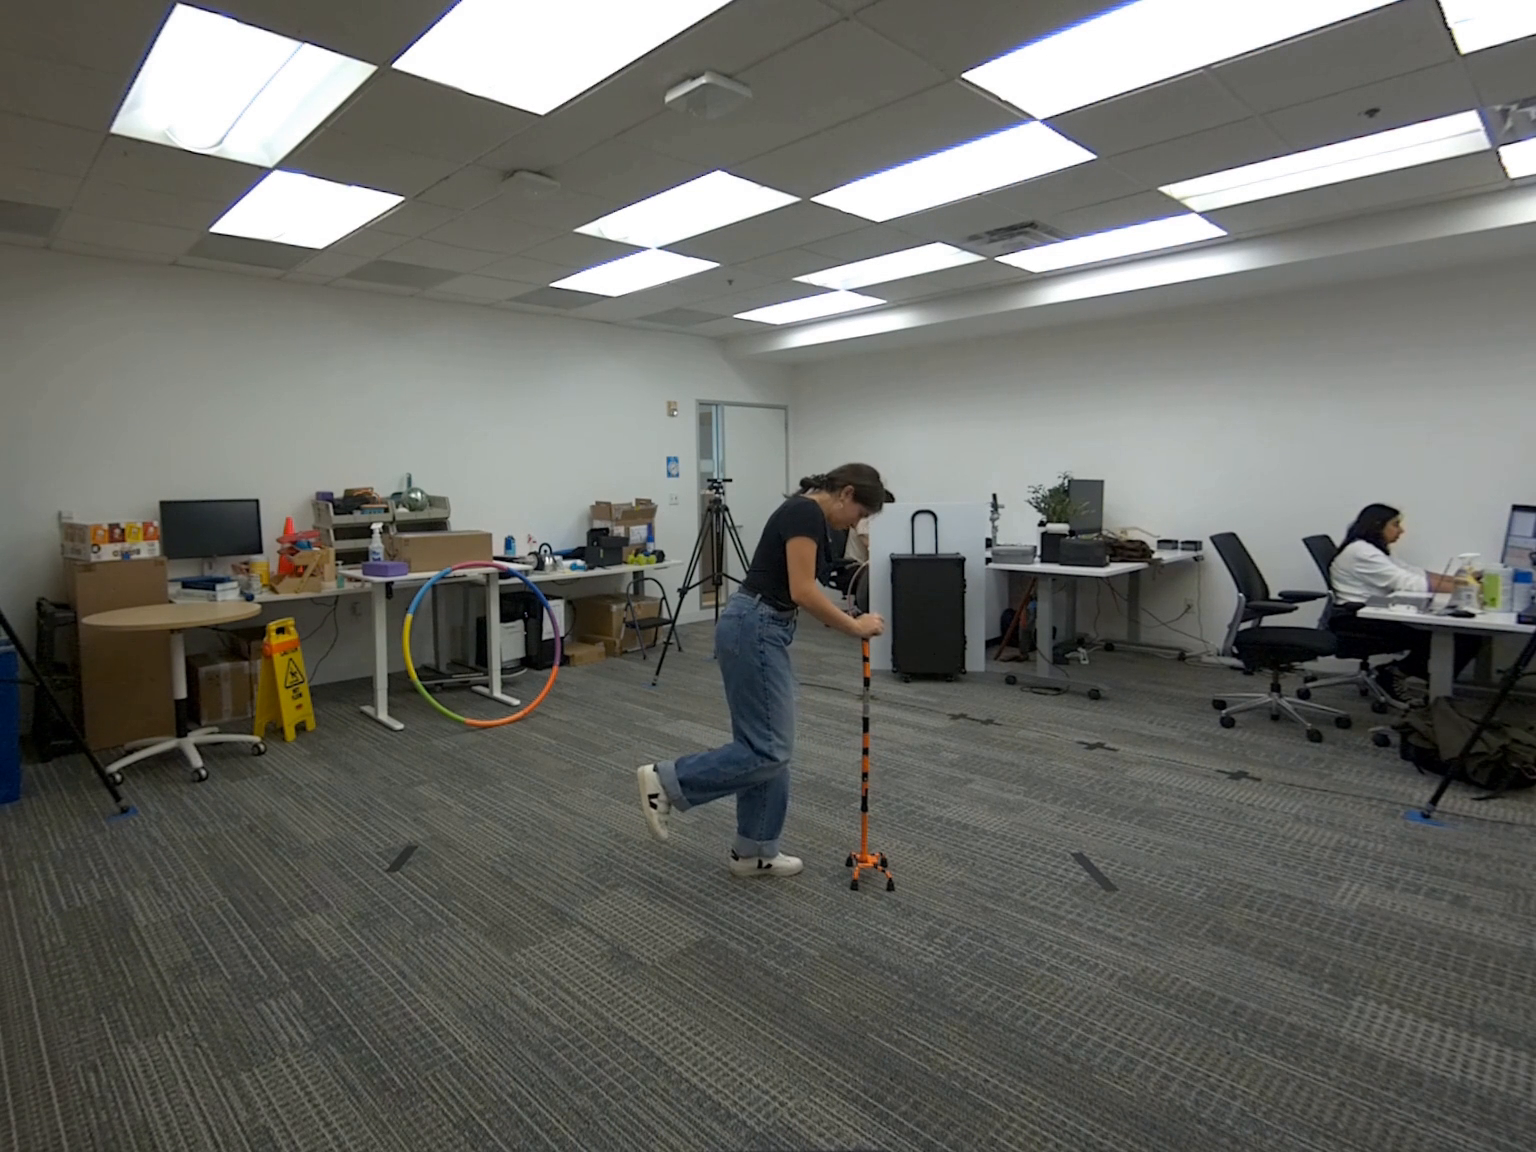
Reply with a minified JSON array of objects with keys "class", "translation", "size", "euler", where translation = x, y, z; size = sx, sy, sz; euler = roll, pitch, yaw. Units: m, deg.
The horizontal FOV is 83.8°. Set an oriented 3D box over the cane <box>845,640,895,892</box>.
[{"class":"cane","translation":[0.353,0.592,2.952],"size":[0.152,0.905,0.207],"euler":[0,4,1]}]
